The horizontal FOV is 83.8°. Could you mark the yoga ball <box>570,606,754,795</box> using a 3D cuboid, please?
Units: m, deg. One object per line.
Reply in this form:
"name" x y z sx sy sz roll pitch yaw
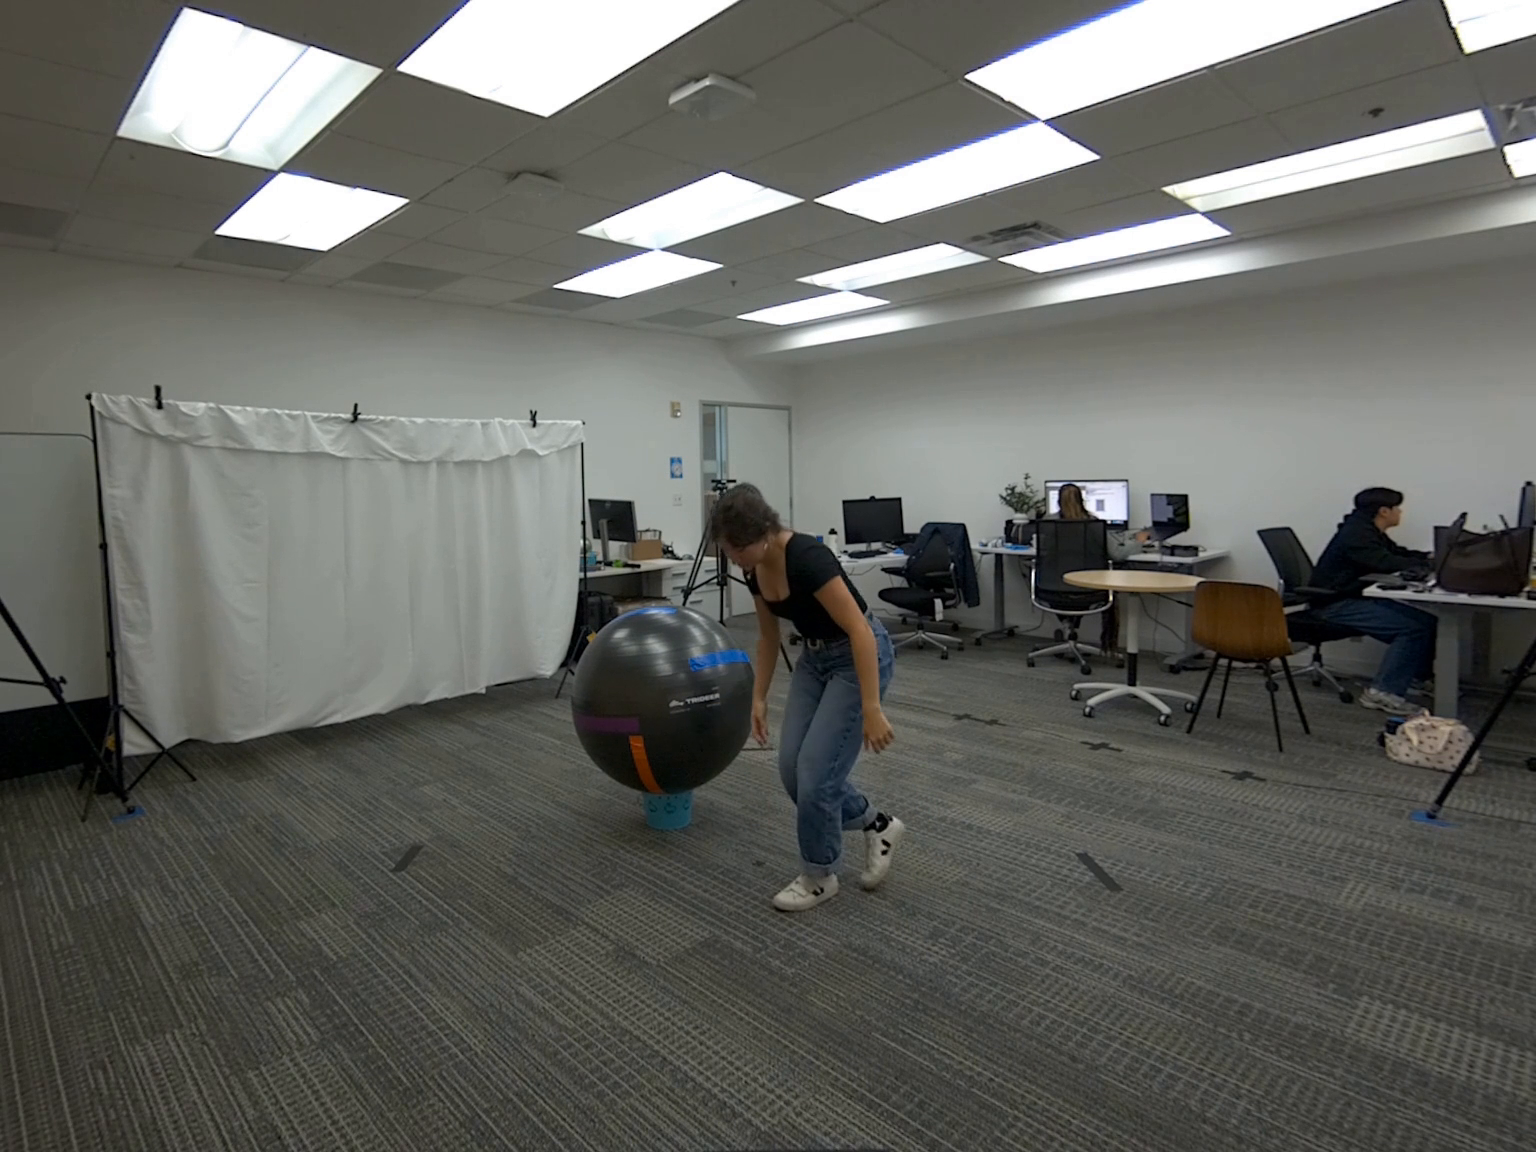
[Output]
"yoga ball" -0.428 0.498 3.494 0.757 0.755 0.762 -1 5 -2
